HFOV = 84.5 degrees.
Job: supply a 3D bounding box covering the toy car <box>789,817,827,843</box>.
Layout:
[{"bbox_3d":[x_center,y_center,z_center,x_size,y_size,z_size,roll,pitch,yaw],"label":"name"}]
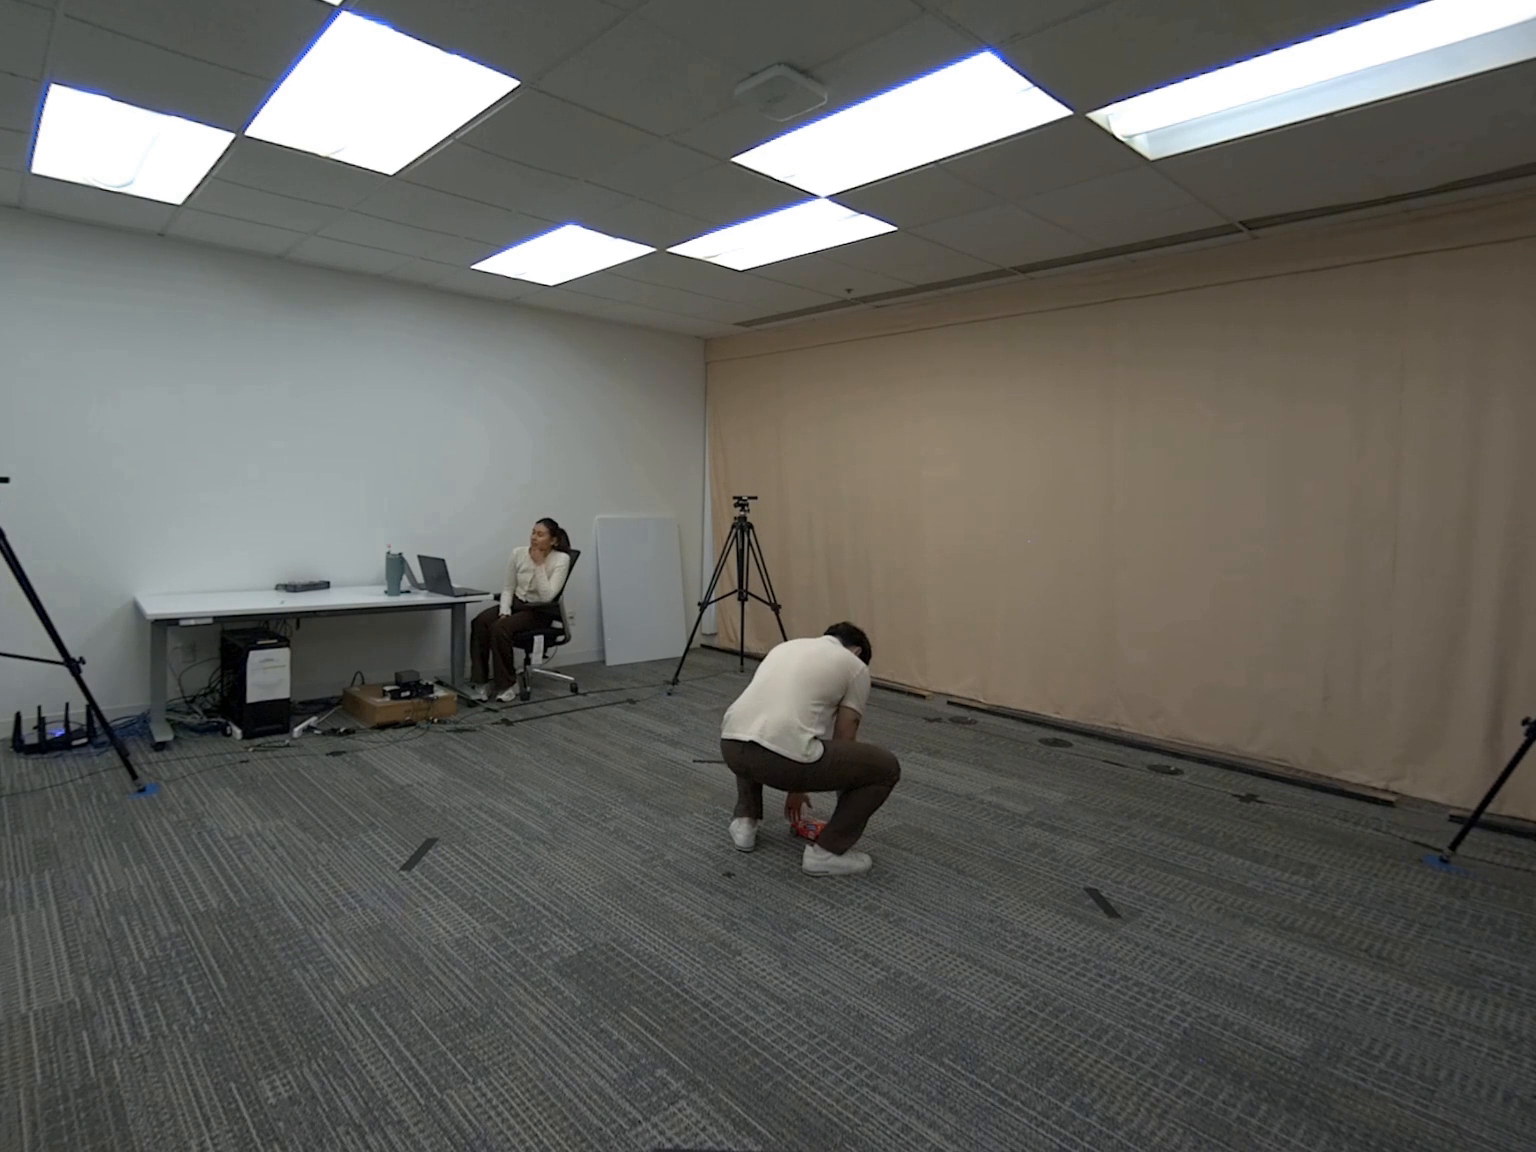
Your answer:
[{"bbox_3d":[0.201,1.052,3.450,0.127,0.083,0.259,-2,-5,-43],"label":"toy car"}]
